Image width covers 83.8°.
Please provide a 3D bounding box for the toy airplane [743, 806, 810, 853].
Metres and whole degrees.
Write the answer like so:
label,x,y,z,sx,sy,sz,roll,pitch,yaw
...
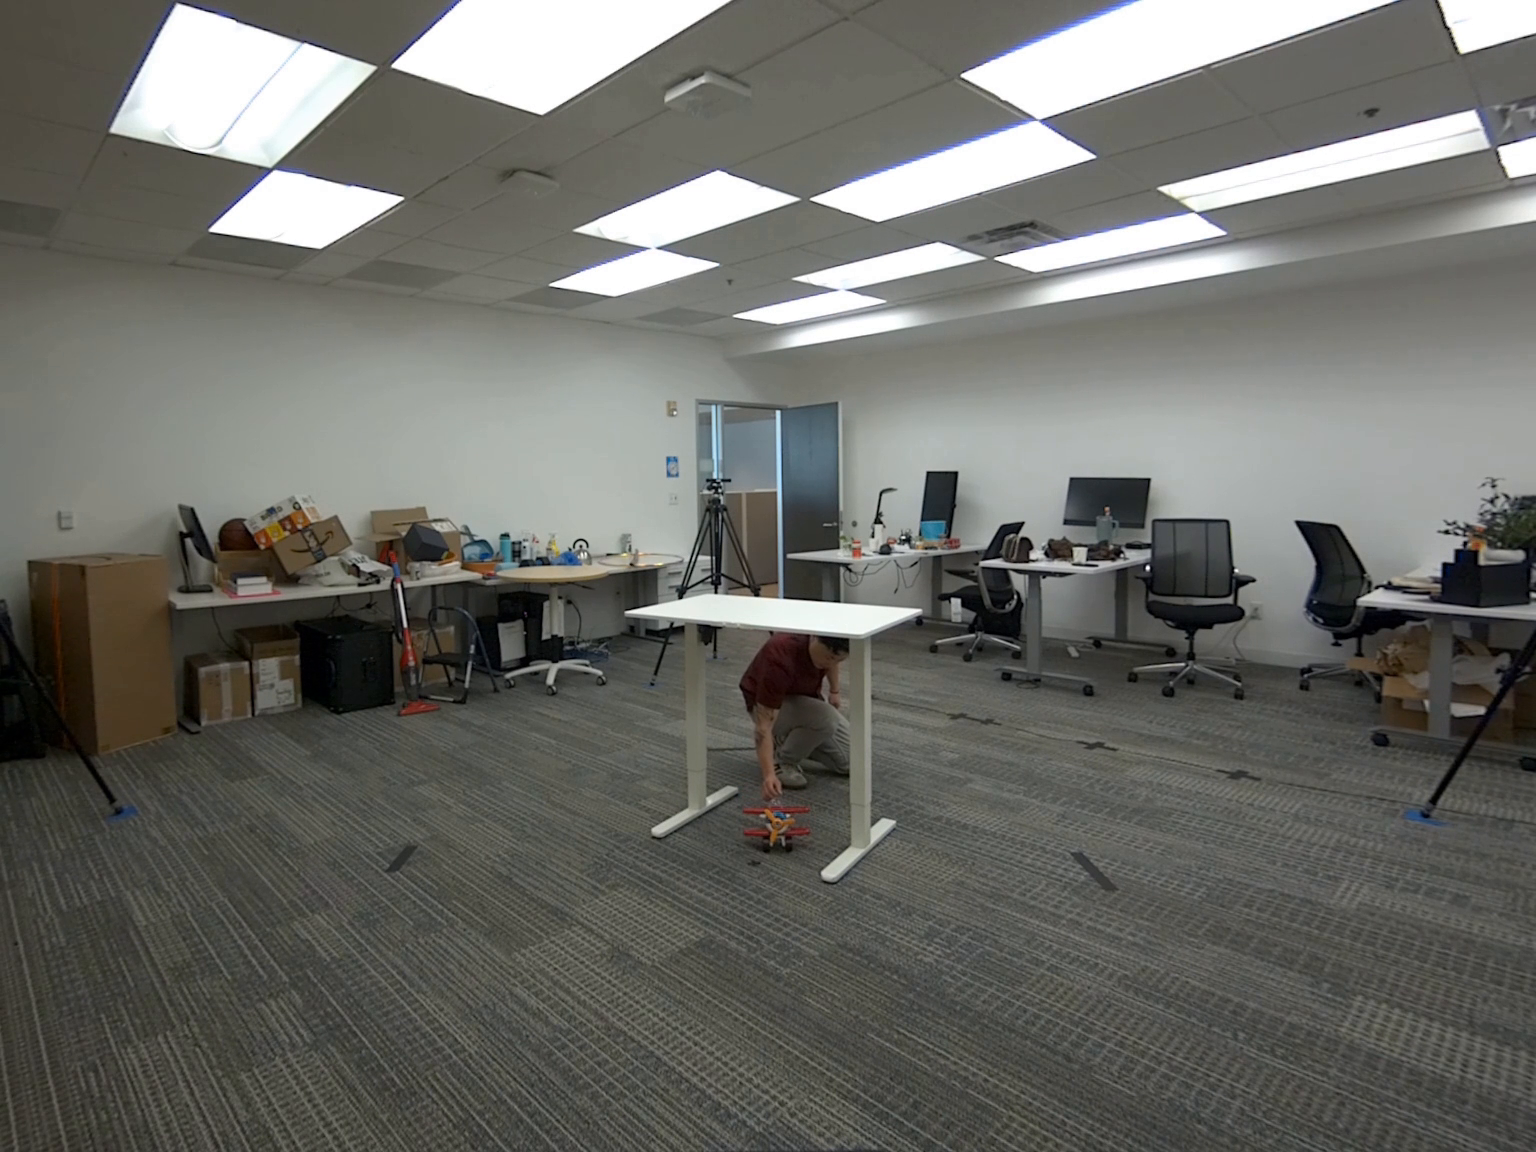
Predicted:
label,x,y,z,sx,sy,sz,roll,pitch,yaw
toy airplane,0.009,0.954,3.290,0.245,0.156,0.266,-3,6,-31
